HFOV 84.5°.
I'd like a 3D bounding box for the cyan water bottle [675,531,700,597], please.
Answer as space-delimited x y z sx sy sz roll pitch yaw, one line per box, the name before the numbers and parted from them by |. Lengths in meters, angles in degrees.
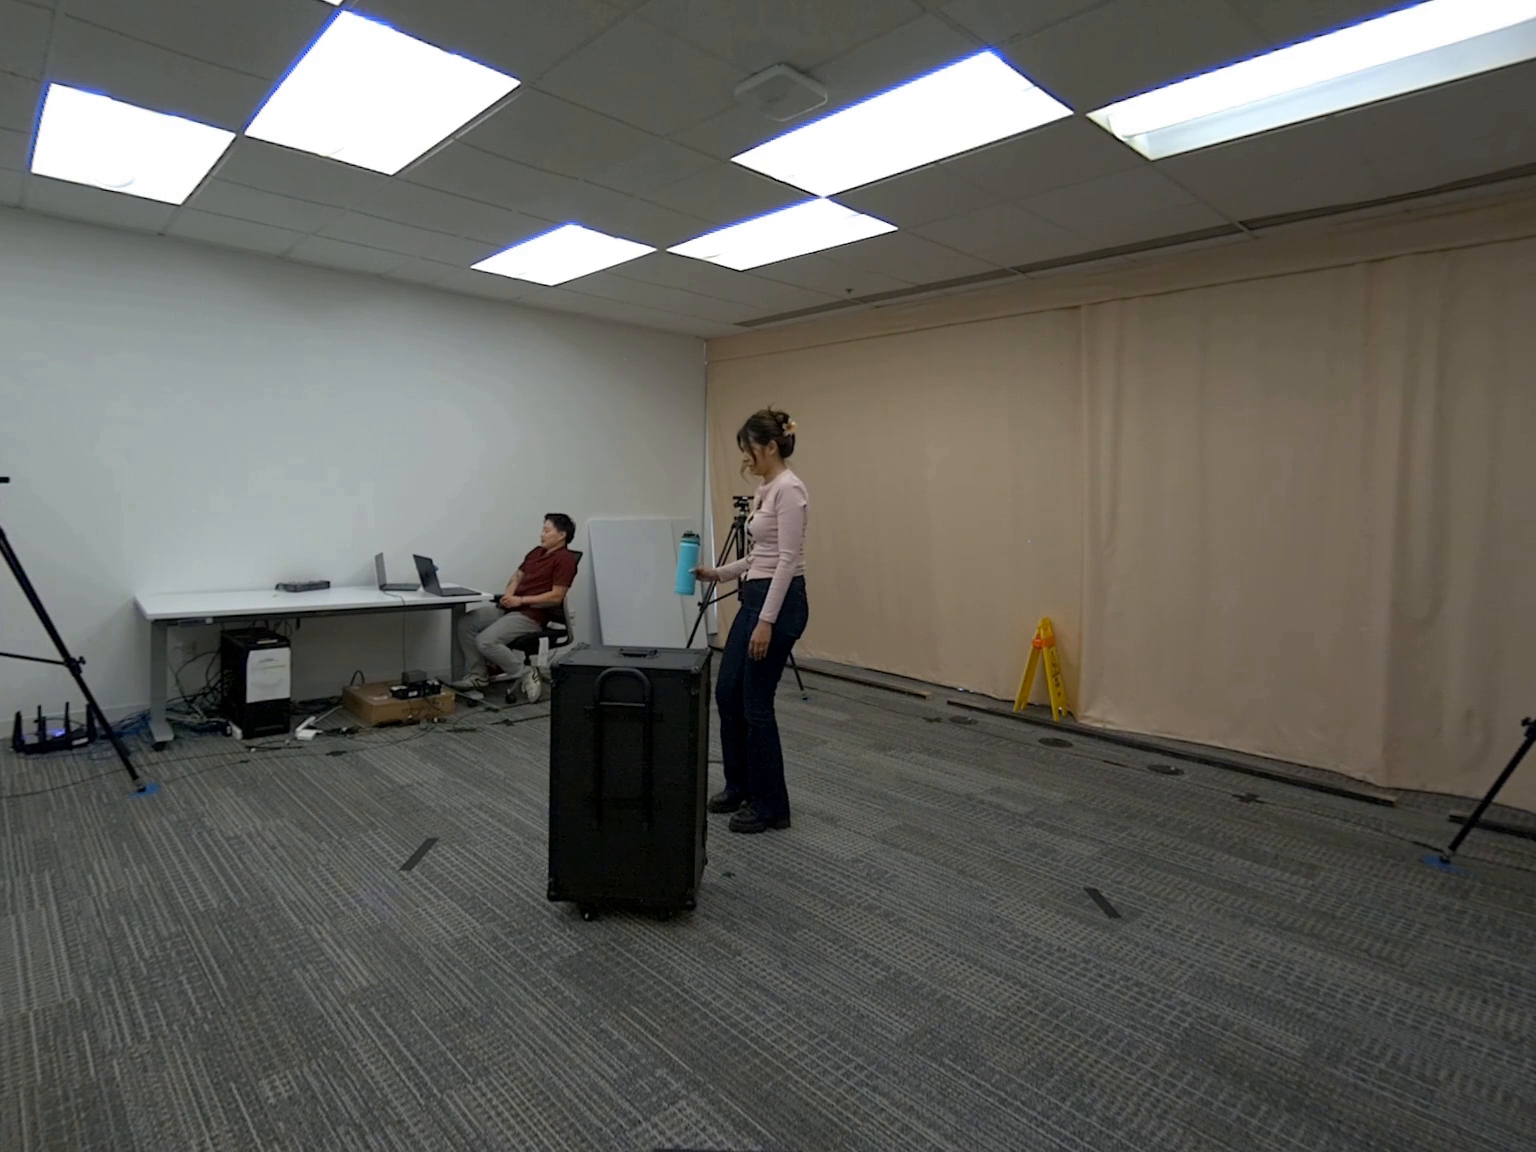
cyan water bottle | -0.354 -0.060 3.703 0.092 0.284 0.092 7 -2 -1
